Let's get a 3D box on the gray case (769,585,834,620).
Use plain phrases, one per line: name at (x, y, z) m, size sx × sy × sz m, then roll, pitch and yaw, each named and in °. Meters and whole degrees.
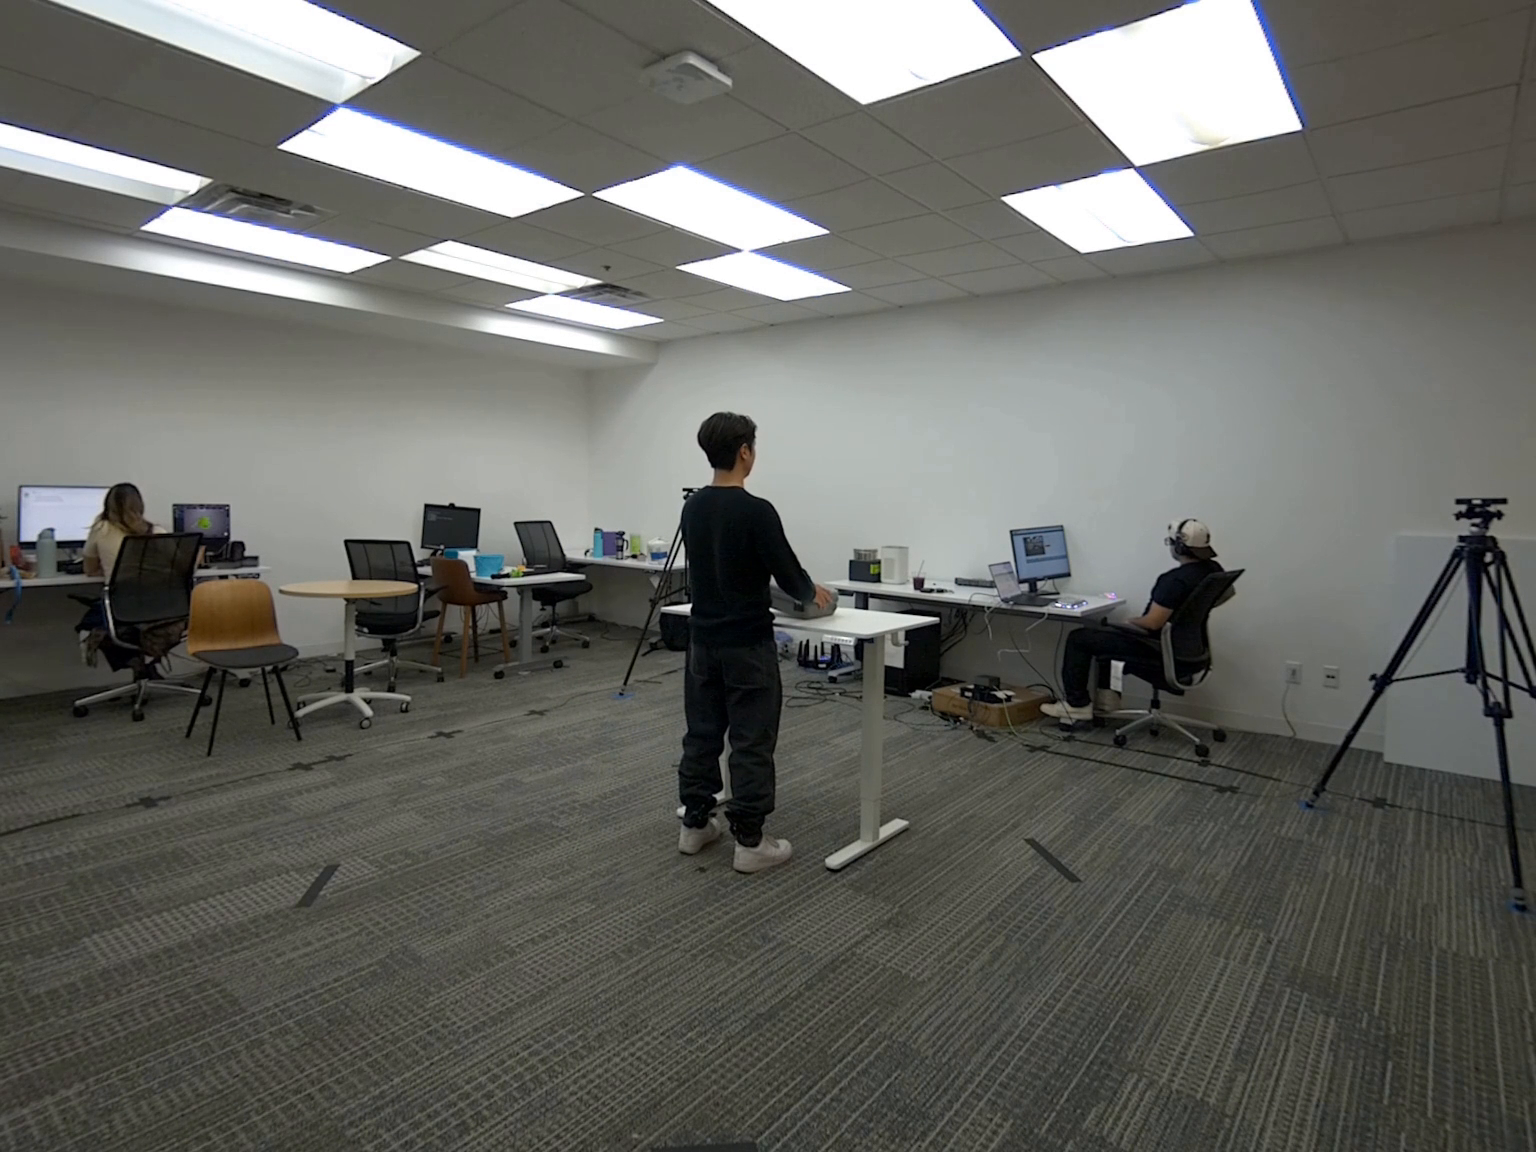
gray case at (0.118, 0.086, 3.495) m, size 0.265 × 0.103 × 0.254 m, roll 13°, pitch 11°, yaw 31°
